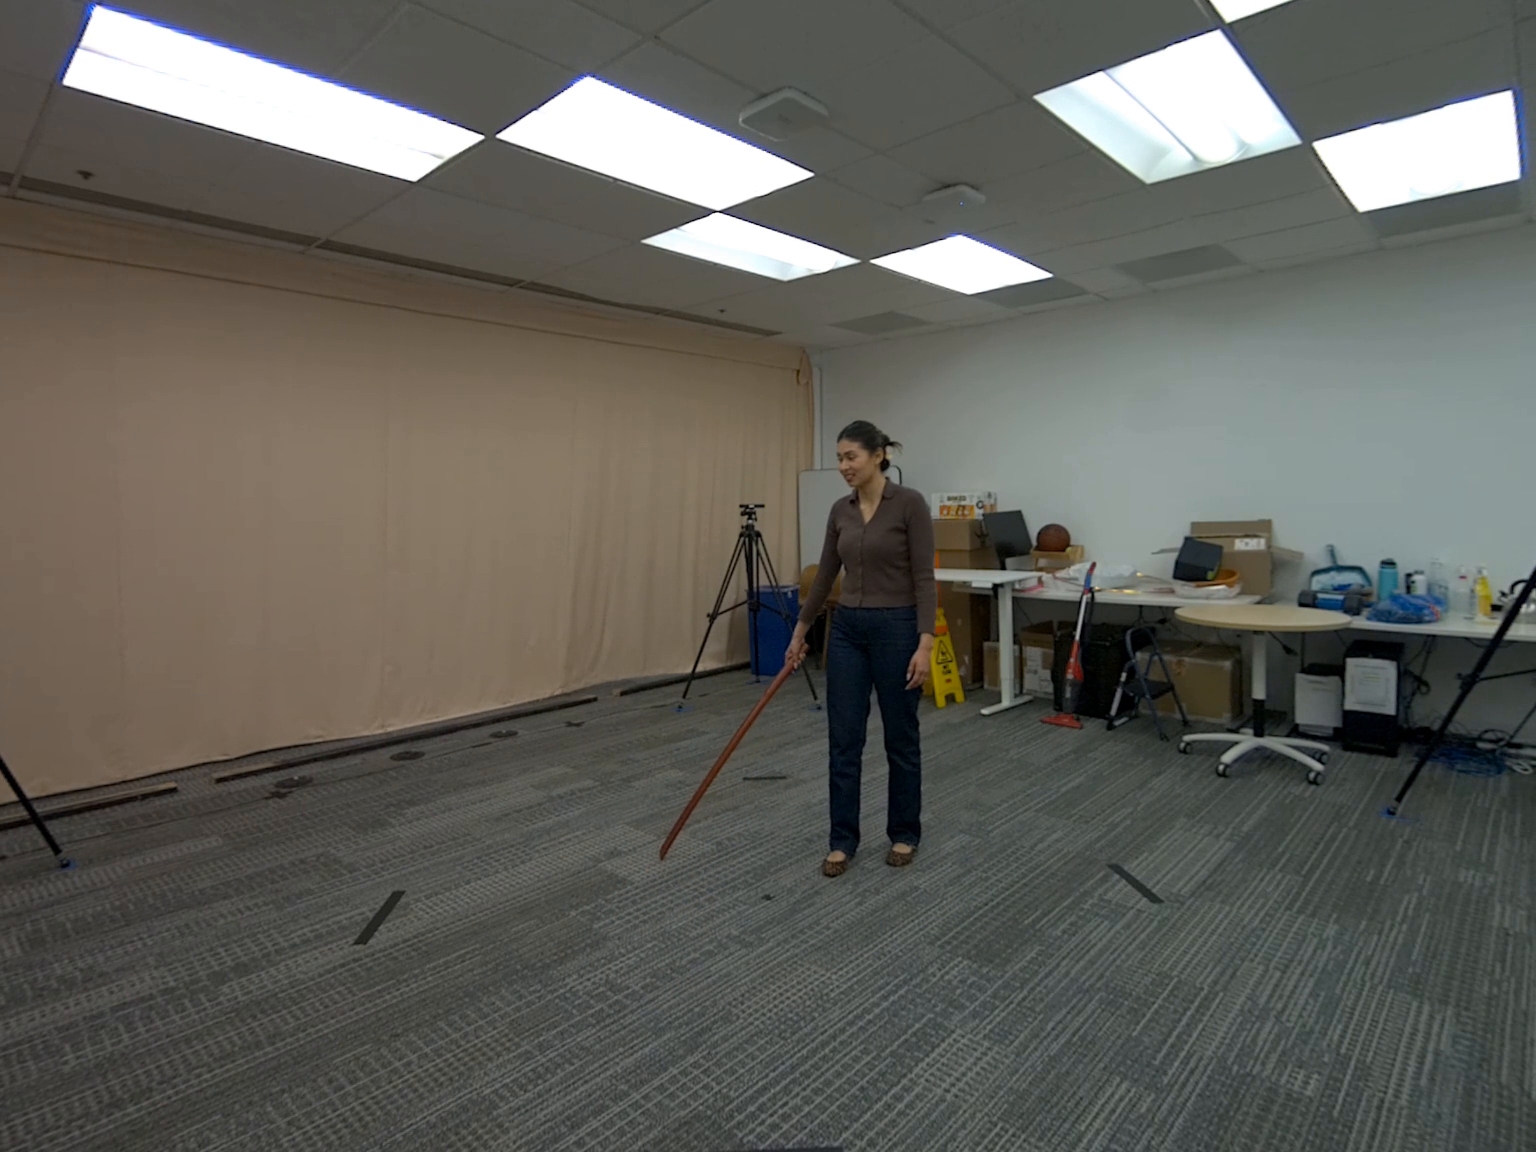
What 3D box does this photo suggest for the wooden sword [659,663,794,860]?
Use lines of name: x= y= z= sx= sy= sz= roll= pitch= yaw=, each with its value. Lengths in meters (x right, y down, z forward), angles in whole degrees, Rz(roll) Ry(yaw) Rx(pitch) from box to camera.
wooden sword: x=-0.144 y=0.705 z=3.403 sx=0.053 sy=1.023 sz=0.023 roll=28 pitch=-12 yaw=35
